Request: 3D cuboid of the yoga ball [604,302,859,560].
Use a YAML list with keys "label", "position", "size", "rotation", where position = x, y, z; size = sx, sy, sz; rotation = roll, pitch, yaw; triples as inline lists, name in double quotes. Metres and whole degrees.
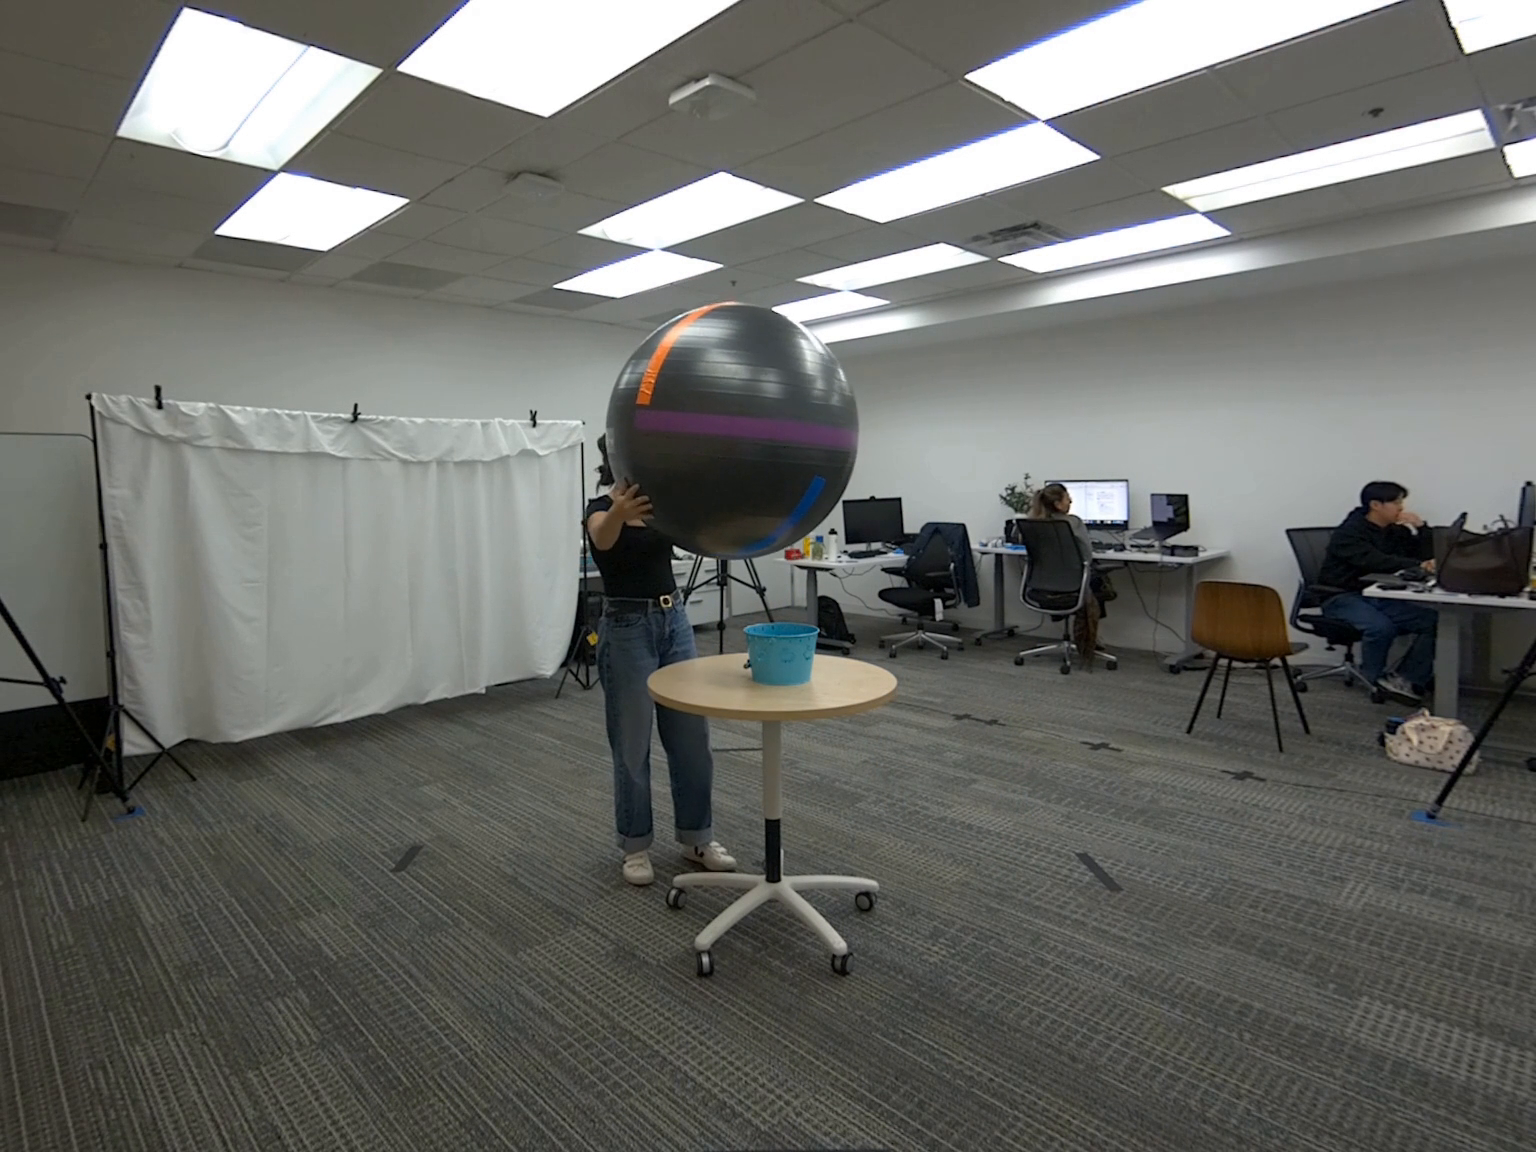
- label: "yoga ball"
  position: [-0.109, -0.430, 2.564]
  size: [0.757, 0.755, 0.762]
  rotation: [-1, 5, -2]
